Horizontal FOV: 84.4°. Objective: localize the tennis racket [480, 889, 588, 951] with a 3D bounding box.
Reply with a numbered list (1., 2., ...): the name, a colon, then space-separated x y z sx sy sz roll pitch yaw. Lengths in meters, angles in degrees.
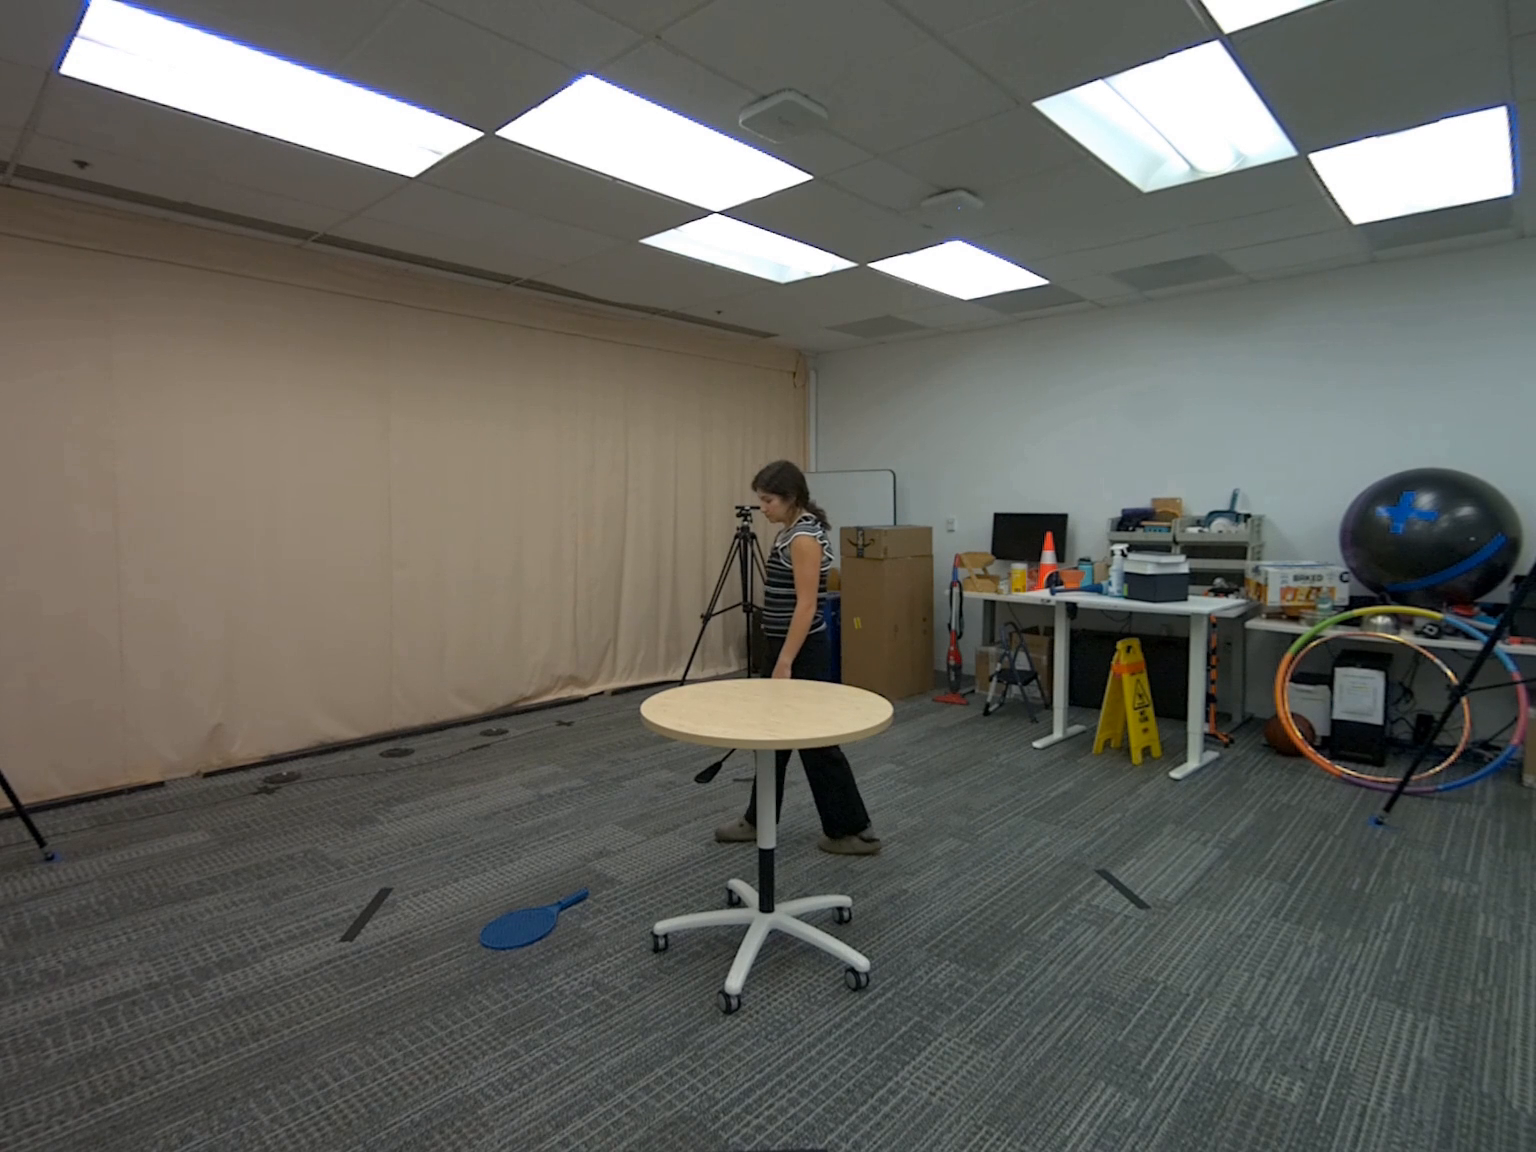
1. tennis racket: -0.778 1.153 2.836 0.220 0.031 0.421 2 7 35
